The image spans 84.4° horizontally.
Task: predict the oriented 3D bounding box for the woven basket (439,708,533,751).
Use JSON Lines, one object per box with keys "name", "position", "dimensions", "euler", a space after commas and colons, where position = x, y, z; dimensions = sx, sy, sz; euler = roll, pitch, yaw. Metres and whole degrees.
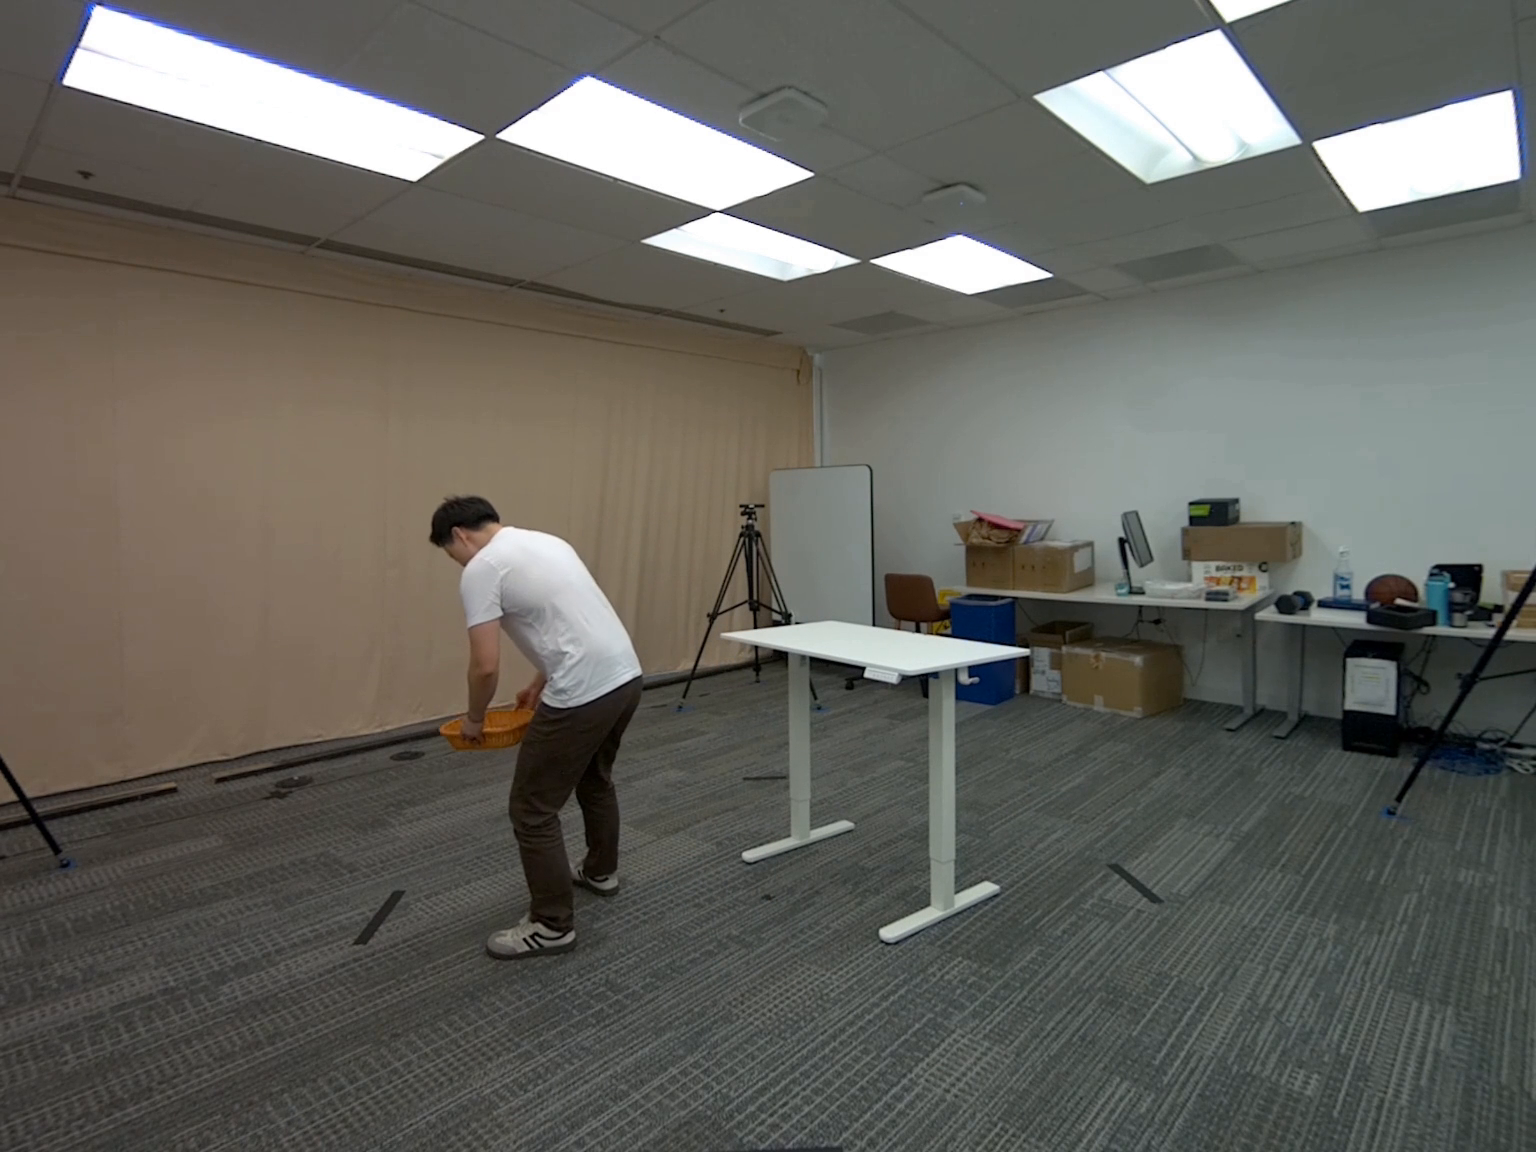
{"name": "woven basket", "position": [-0.960, 0.534, 2.887], "dimensions": [0.358, 0.073, 0.248], "euler": [-6, 7, 21]}
